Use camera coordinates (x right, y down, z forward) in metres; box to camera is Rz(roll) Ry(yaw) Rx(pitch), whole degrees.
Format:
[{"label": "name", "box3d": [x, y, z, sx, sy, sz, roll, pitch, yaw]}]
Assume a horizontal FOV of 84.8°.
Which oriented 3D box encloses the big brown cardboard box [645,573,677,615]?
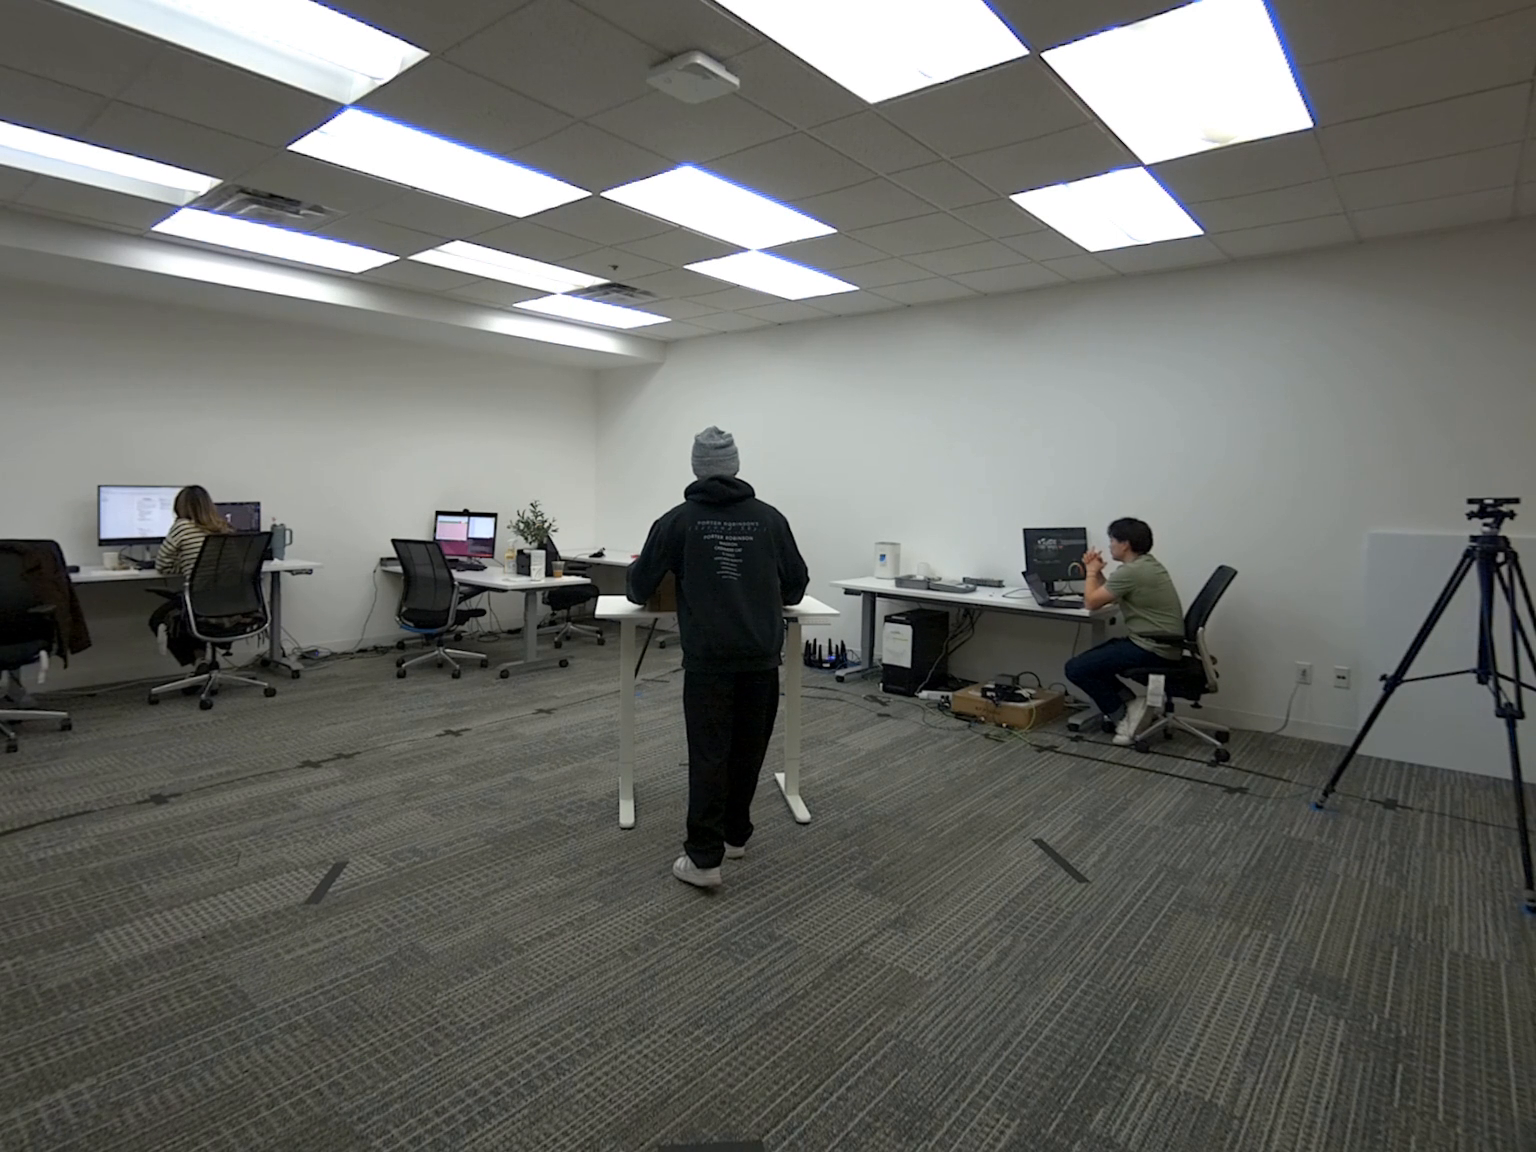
[{"label": "big brown cardboard box", "box3d": [-0.249, 0.013, 3.703, 0.584, 0.232, 0.422, -1, 5, -8]}]
